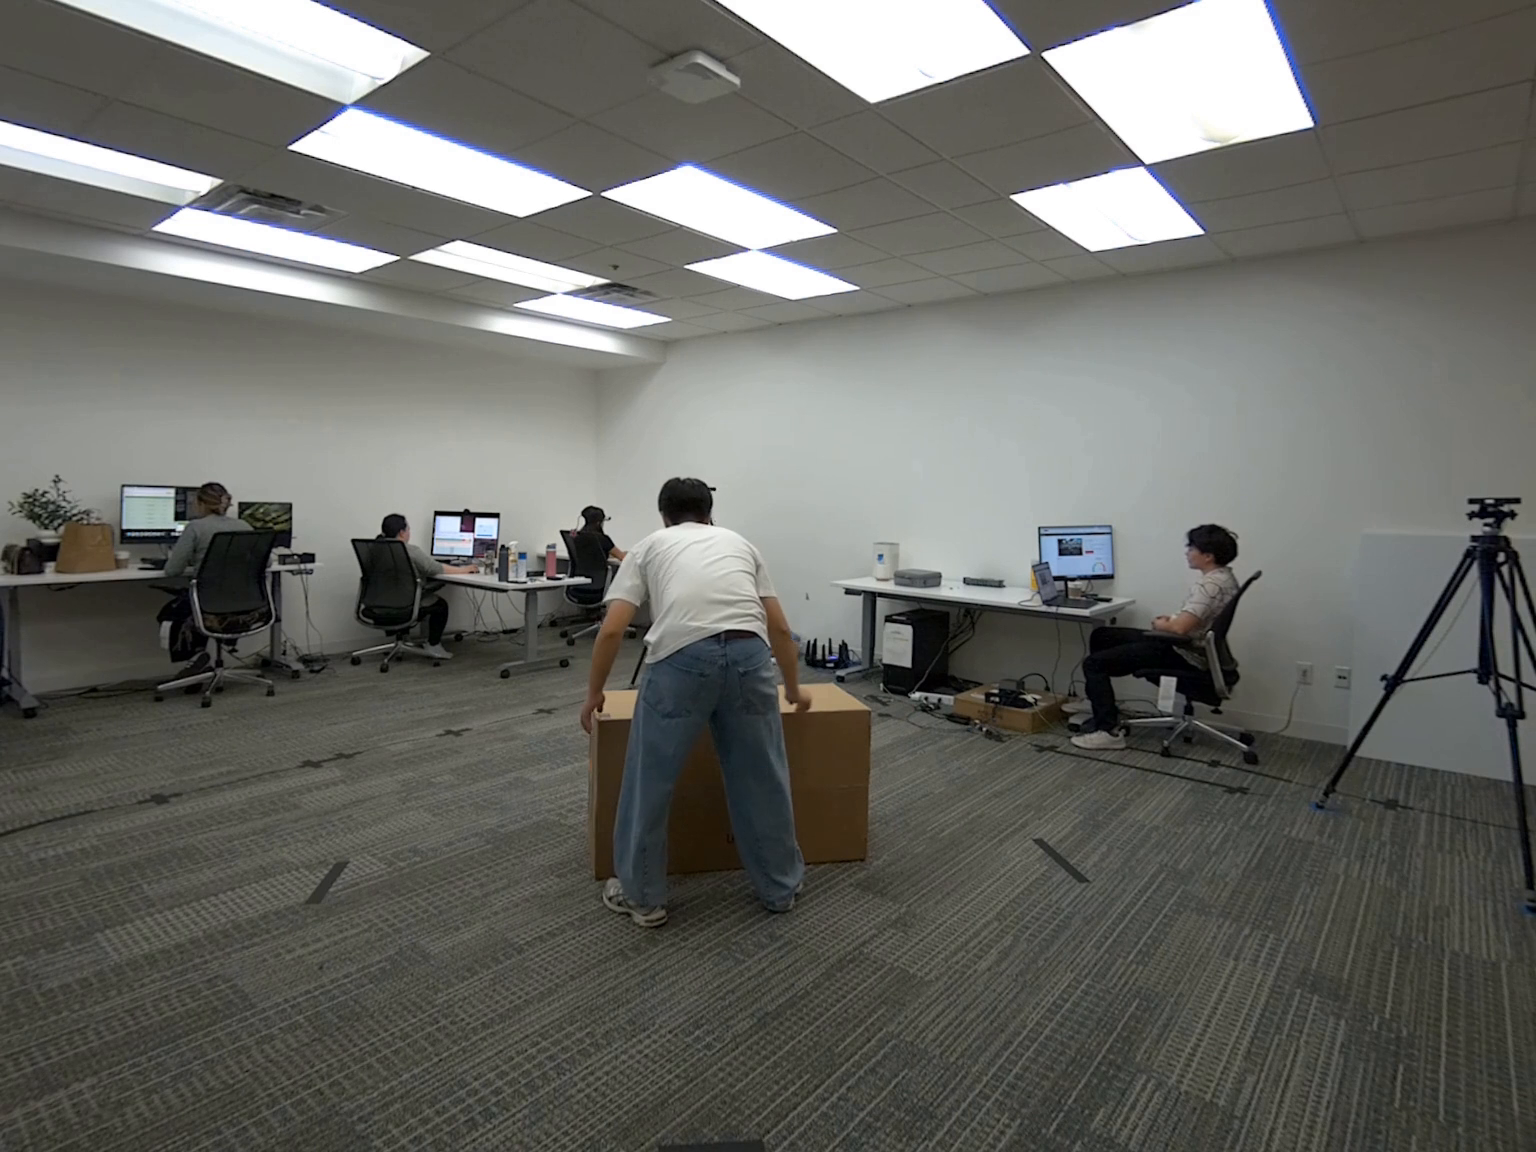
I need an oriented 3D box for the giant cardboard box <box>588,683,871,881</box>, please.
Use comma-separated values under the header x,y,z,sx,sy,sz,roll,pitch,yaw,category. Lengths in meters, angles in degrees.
x,y,z,sx,sy,sz,roll,pitch,yaw,category
-0.174,0.754,3.292,1.012,0.575,0.433,0,4,-13,giant cardboard box
